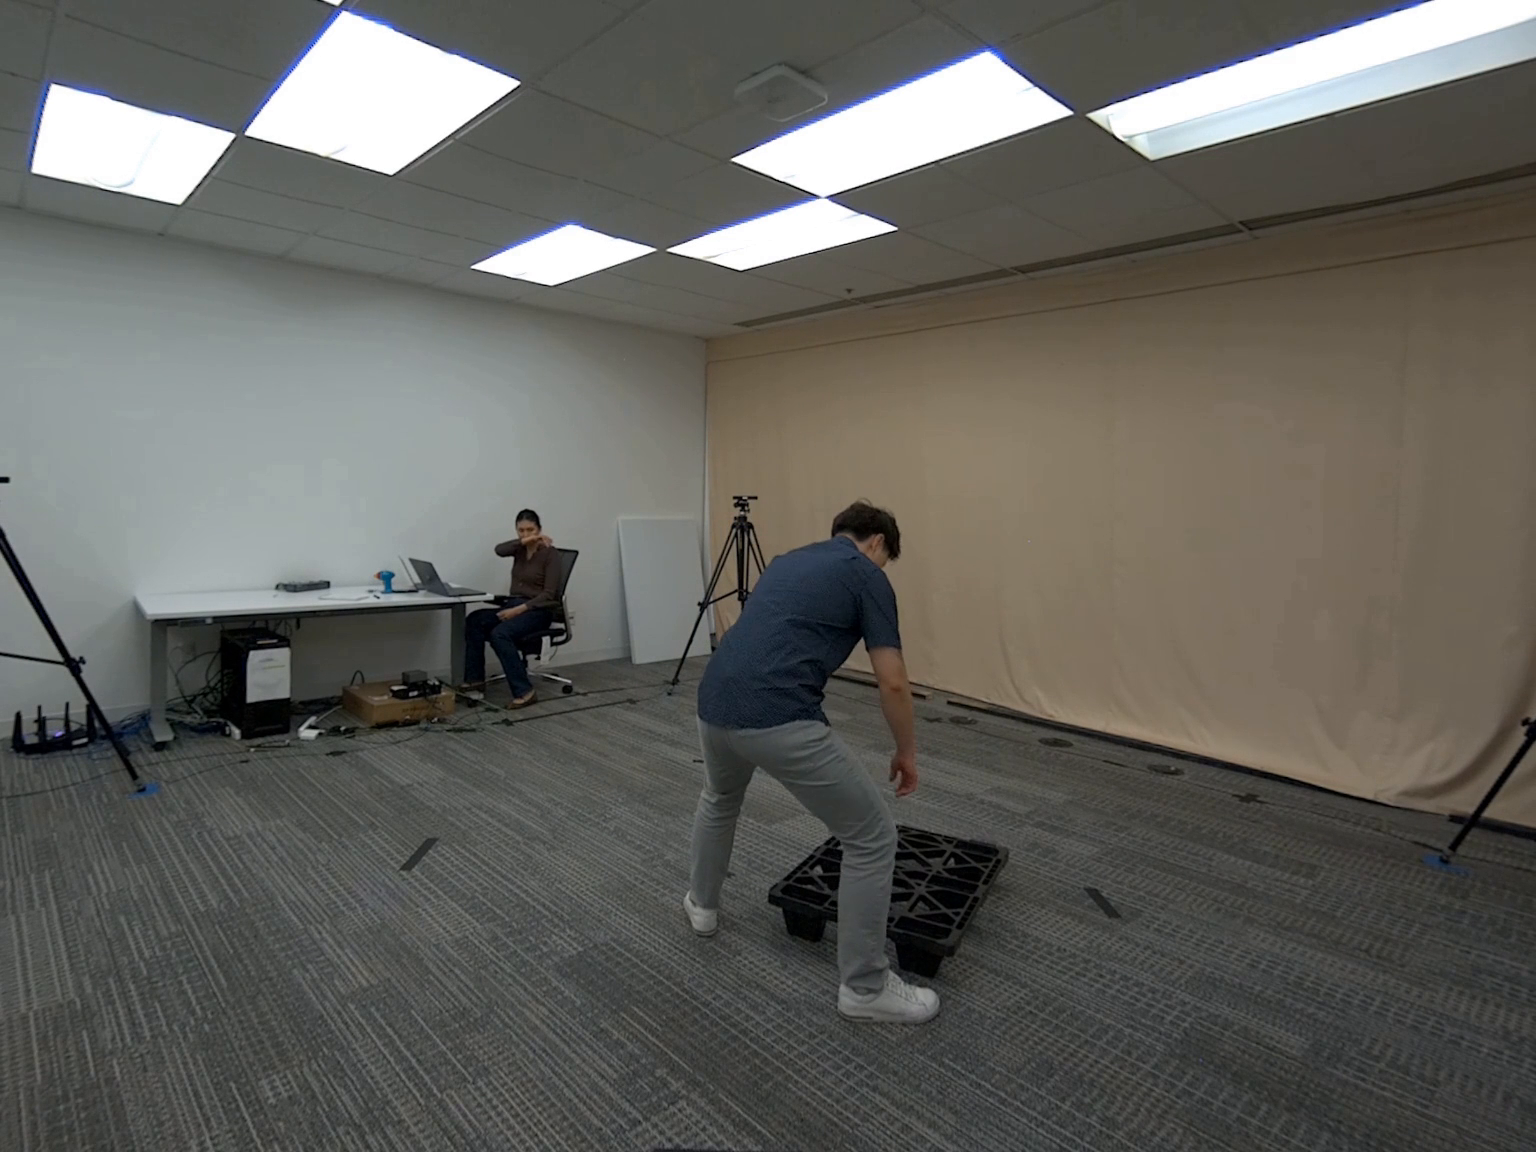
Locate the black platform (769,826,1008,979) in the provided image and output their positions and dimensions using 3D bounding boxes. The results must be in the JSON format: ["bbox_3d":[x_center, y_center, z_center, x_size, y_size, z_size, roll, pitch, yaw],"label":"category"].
[{"bbox_3d":[0.426,1.066,2.884,0.618,0.143,0.791,4,5,28],"label":"black platform"}]
